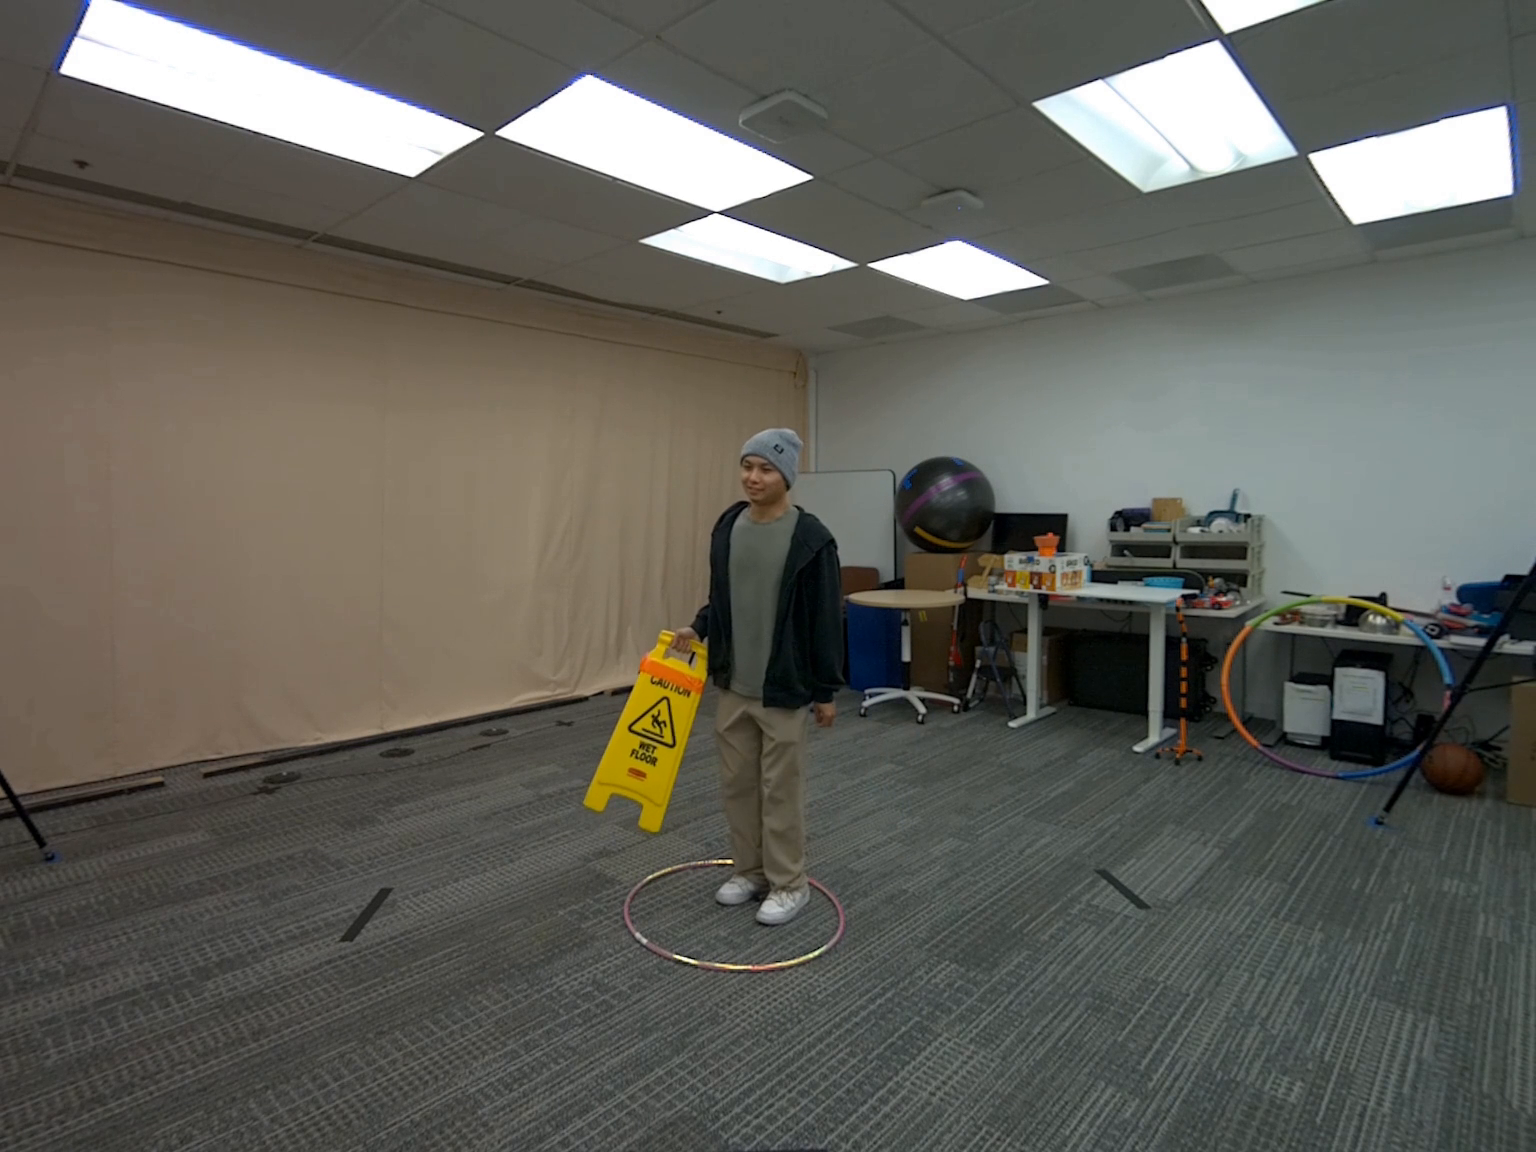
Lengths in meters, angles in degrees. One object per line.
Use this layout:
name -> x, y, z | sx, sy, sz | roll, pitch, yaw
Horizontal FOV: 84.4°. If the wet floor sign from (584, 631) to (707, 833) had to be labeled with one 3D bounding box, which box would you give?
wet floor sign -> -0.394, 0.532, 3.021 | 0.282, 0.646, 0.290 | 17, -2, -2
